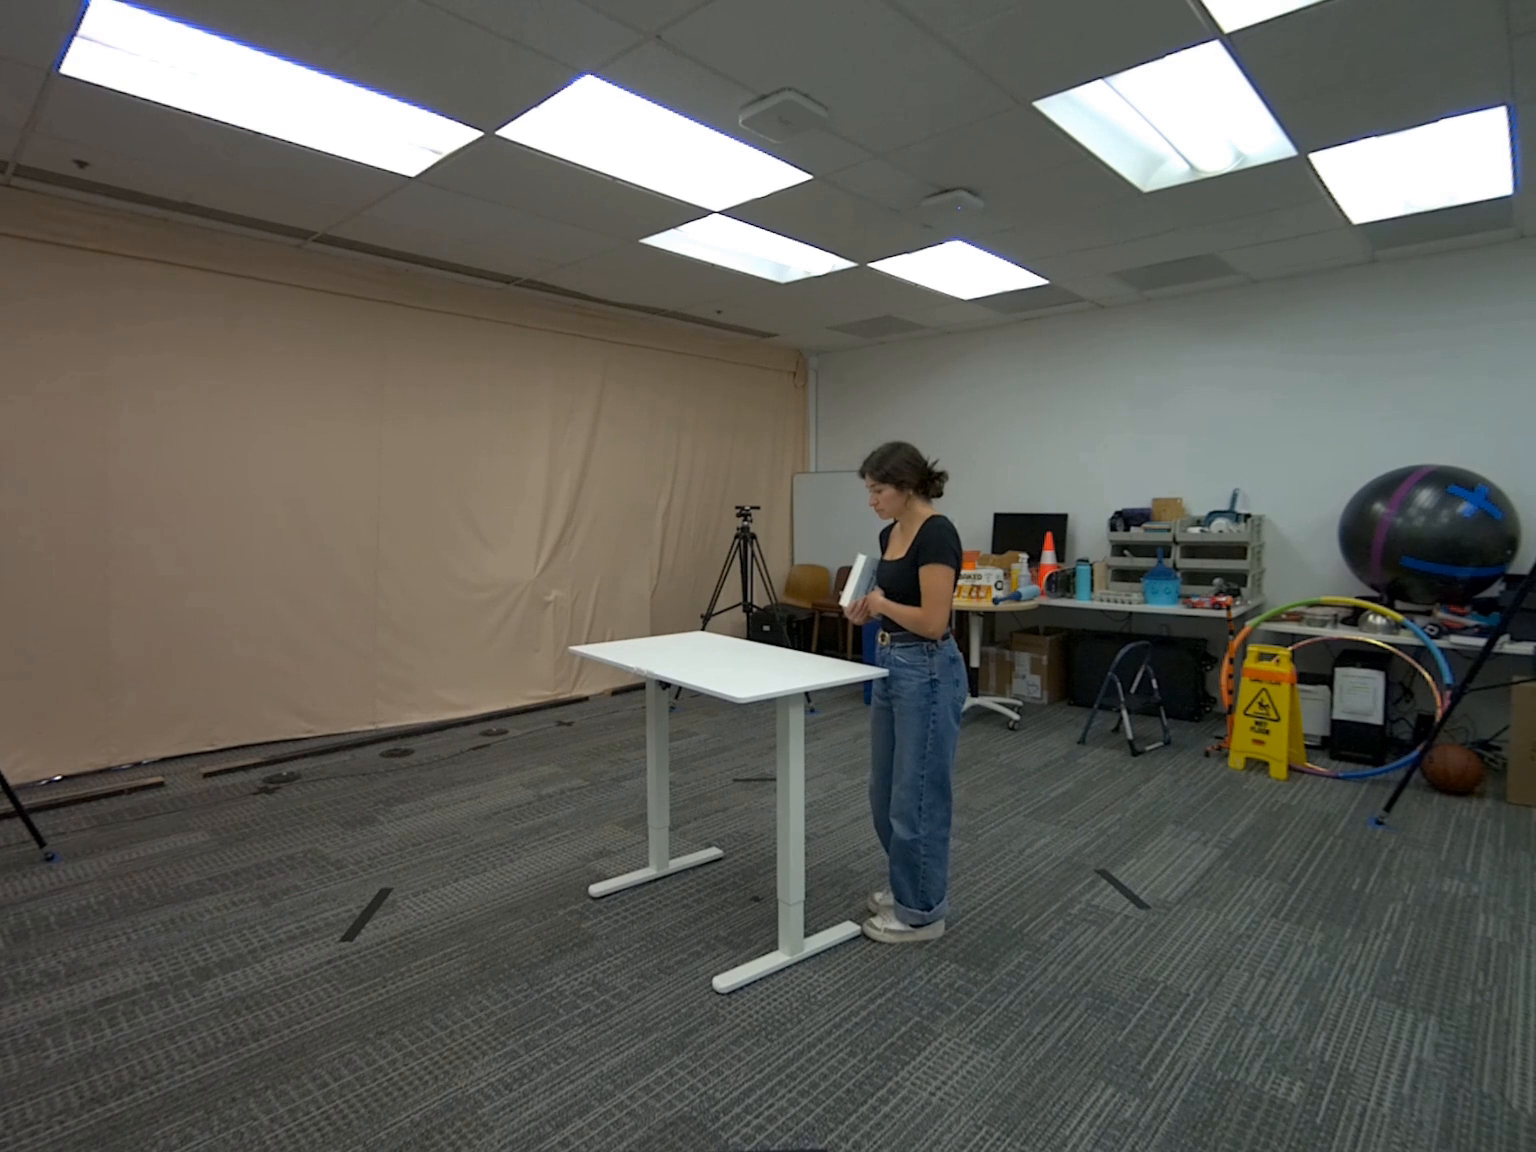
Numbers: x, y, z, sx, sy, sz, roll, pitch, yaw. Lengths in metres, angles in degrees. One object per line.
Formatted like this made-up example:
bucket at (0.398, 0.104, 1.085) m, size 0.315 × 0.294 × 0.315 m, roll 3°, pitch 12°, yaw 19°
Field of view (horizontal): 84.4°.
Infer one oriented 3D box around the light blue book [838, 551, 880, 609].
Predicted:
light blue book at (0.393, 0.052, 2.853) m, size 0.255 × 0.191 × 0.060 m, roll 20°, pitch 3°, yaw -20°
